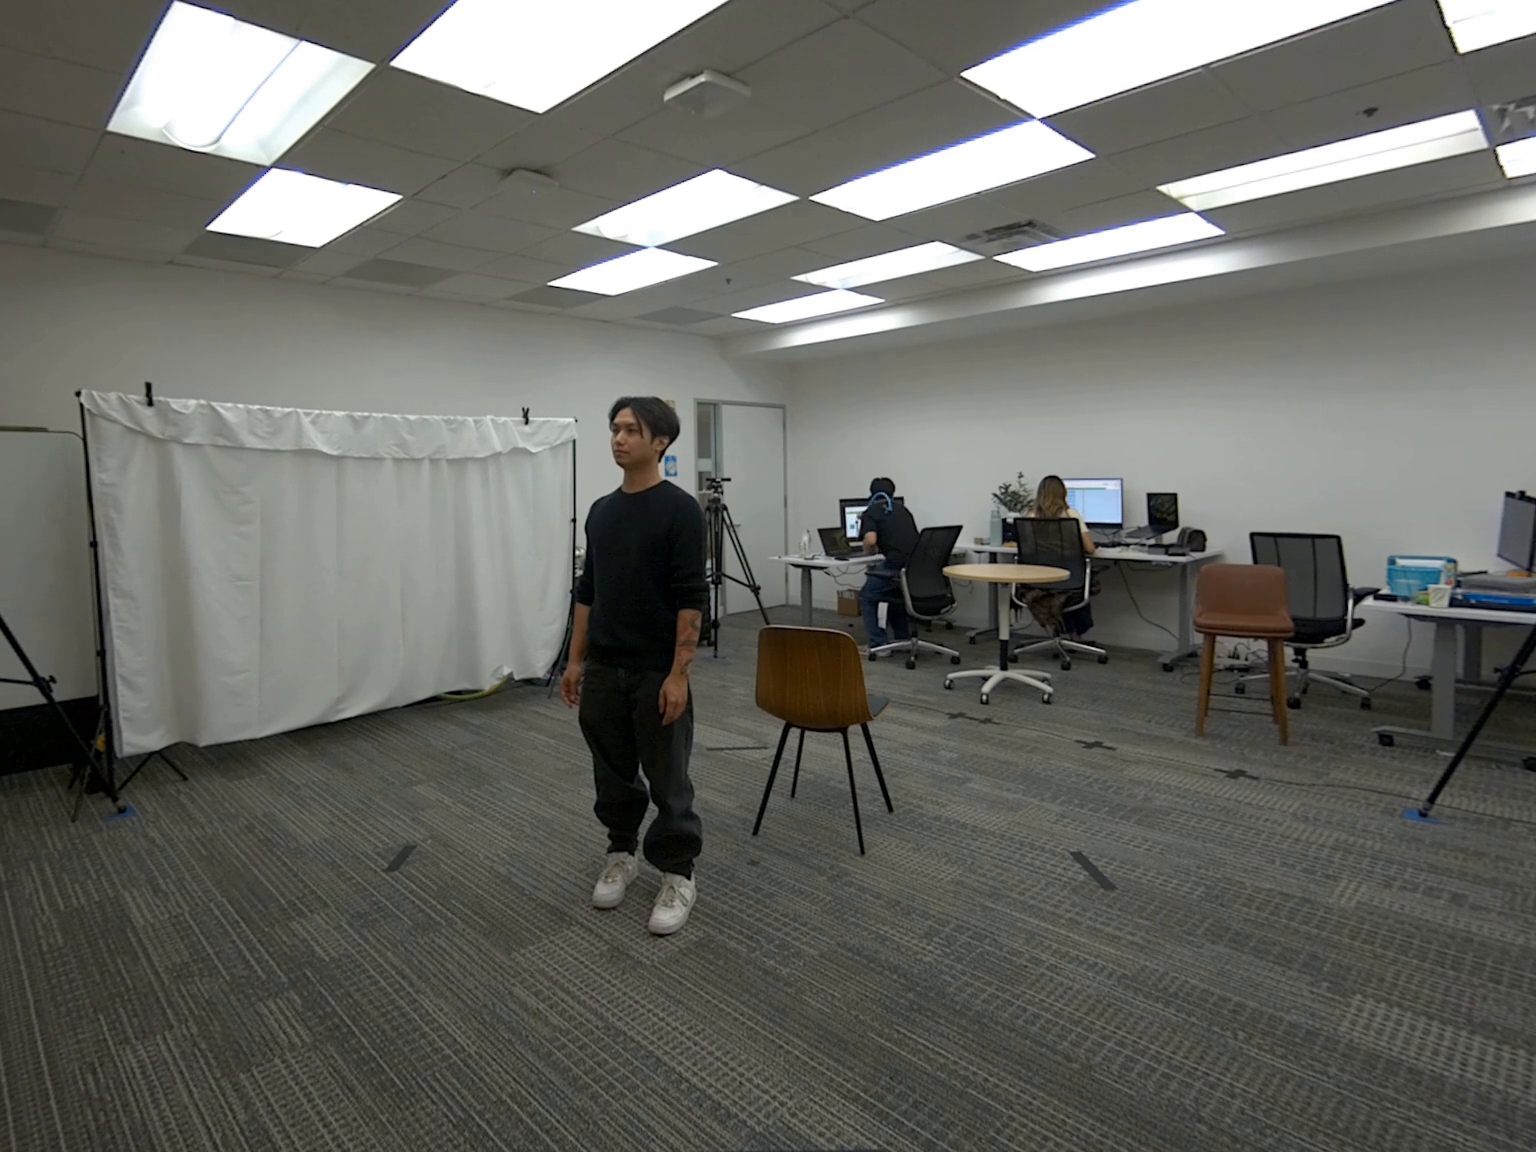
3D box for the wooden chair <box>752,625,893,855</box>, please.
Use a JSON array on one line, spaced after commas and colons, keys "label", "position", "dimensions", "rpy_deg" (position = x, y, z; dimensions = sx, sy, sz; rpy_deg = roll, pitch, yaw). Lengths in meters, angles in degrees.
[{"label": "wooden chair", "position": [0.224, 0.573, 3.426], "dimensions": [0.489, 0.871, 0.515], "rpy_deg": [1, 9, 24]}]
